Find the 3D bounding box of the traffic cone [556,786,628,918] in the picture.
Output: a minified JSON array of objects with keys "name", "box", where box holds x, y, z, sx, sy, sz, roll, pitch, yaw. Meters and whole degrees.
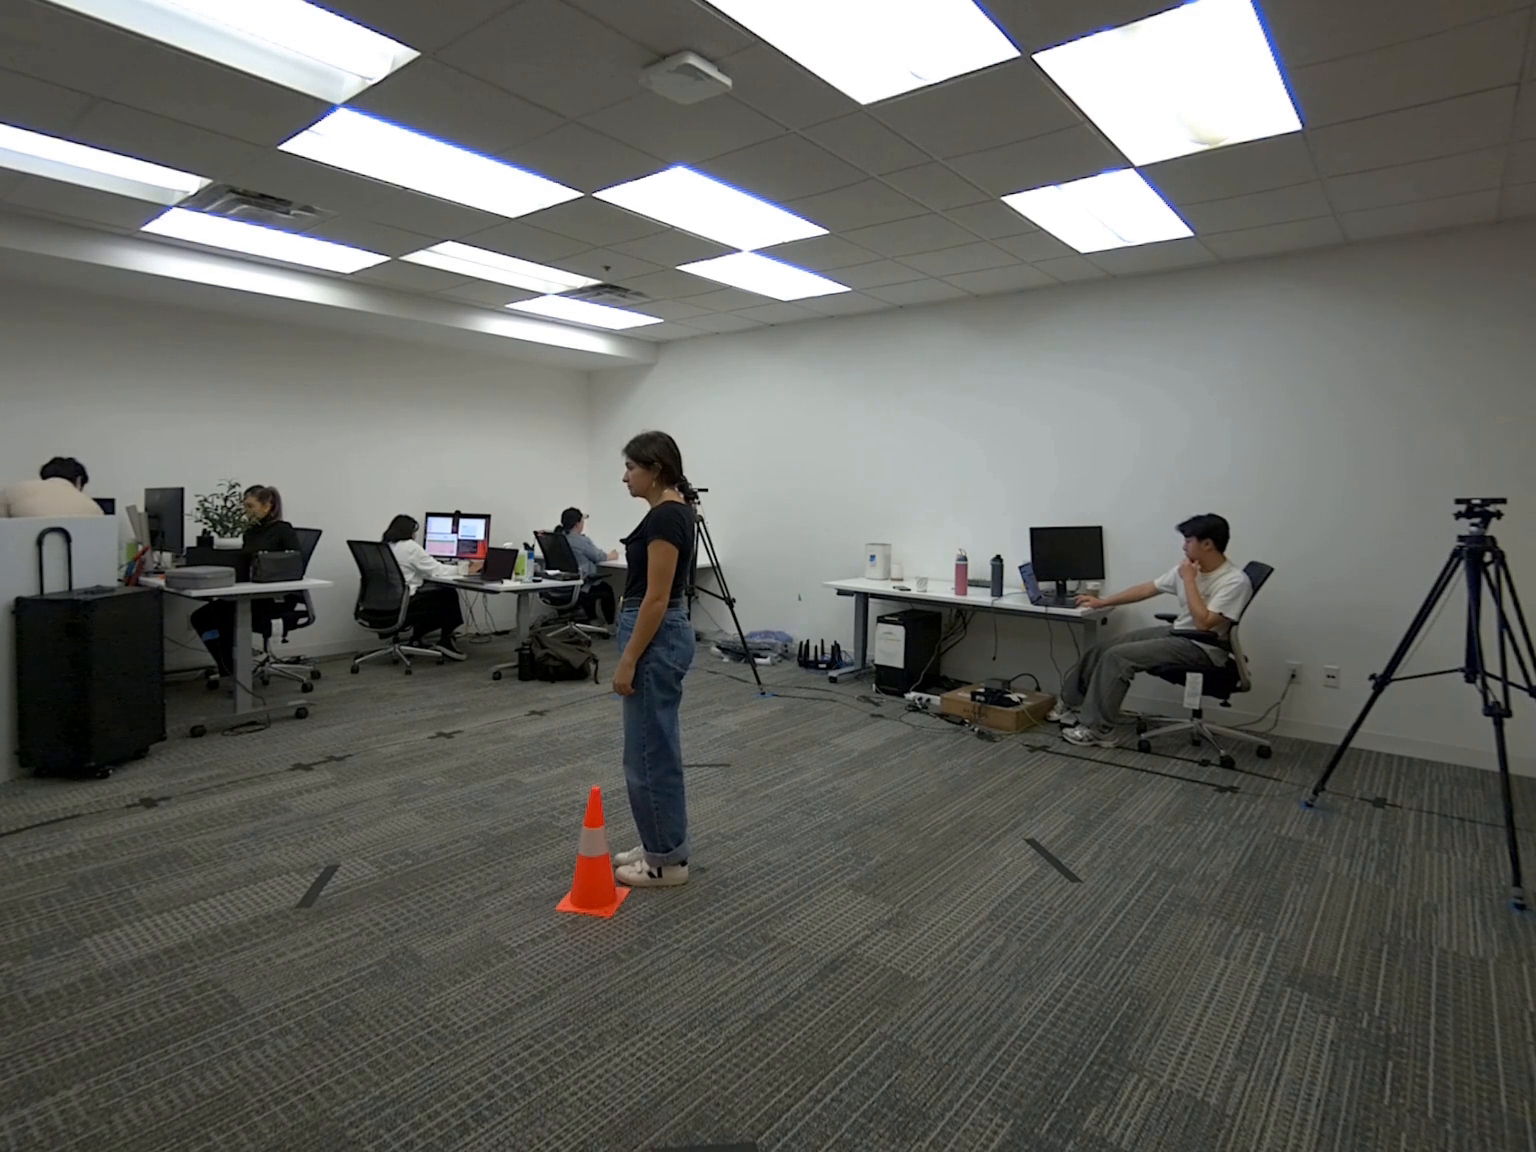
[{"name":"traffic cone","box":[-0.589,0.896,2.865,0.206,0.382,0.203,3,4,12]}]
